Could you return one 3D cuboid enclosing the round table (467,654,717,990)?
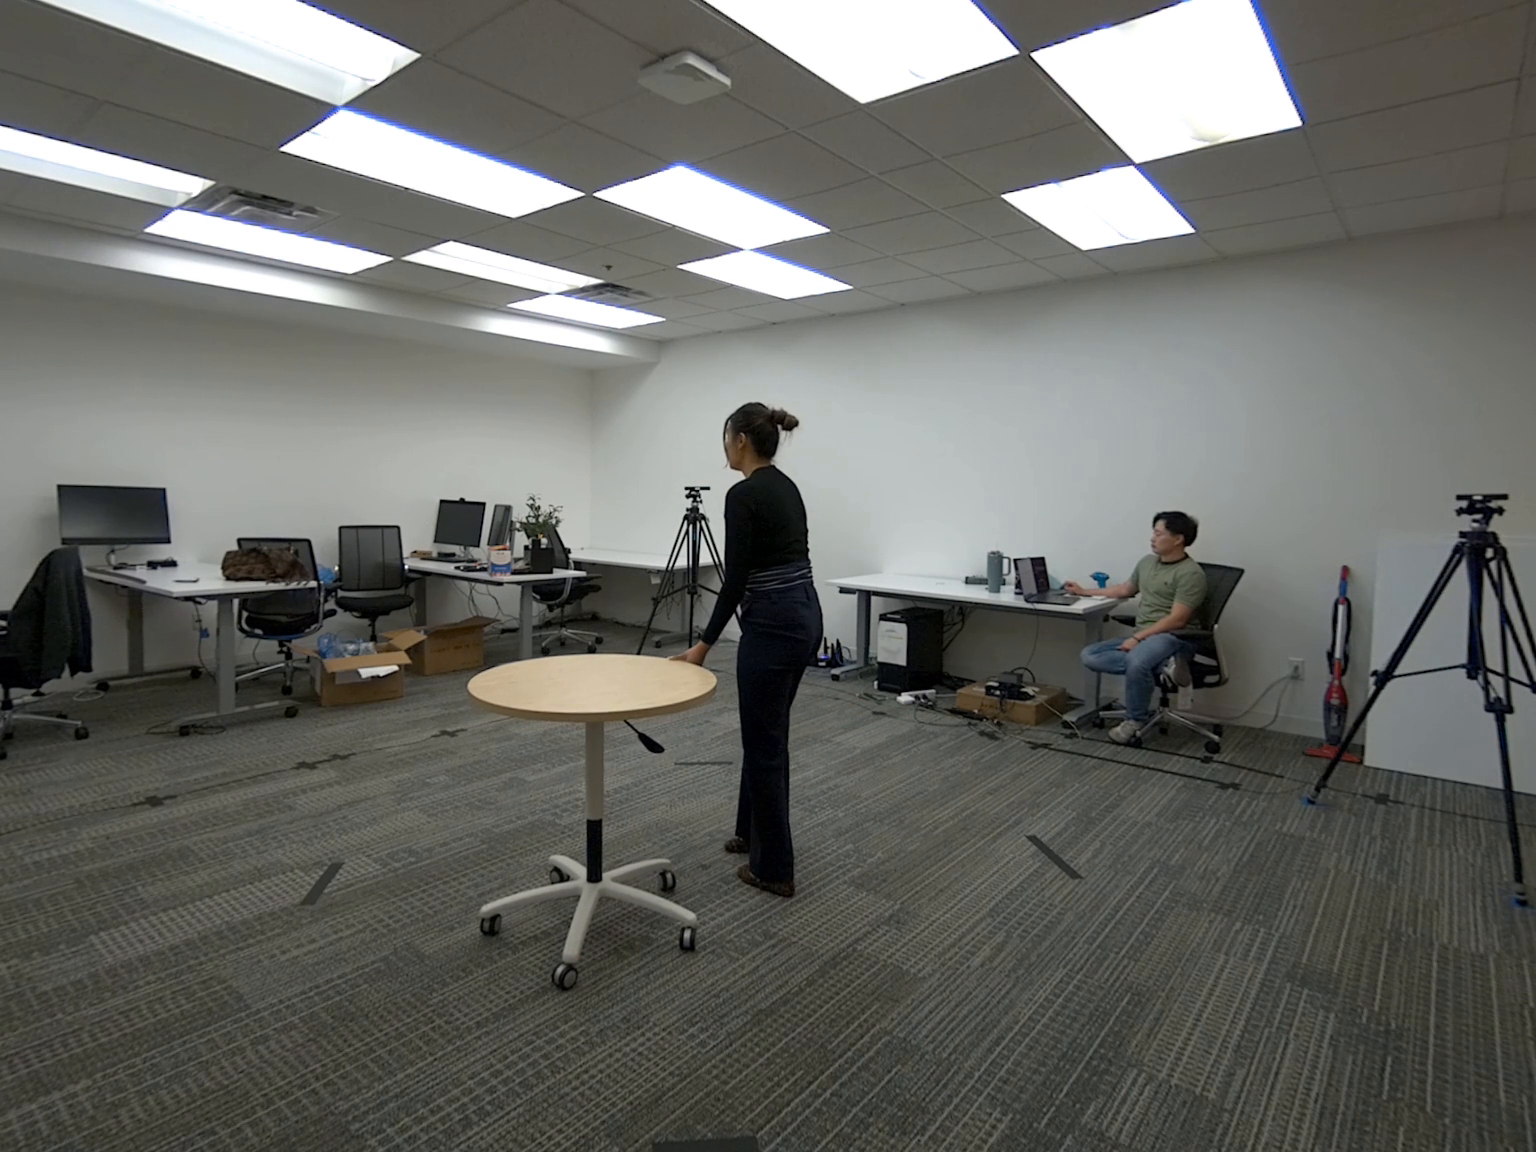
[{"bbox_3d":[-0.553,0.716,2.672,0.763,0.791,0.768,0,5,-2],"label":"round table"}]
